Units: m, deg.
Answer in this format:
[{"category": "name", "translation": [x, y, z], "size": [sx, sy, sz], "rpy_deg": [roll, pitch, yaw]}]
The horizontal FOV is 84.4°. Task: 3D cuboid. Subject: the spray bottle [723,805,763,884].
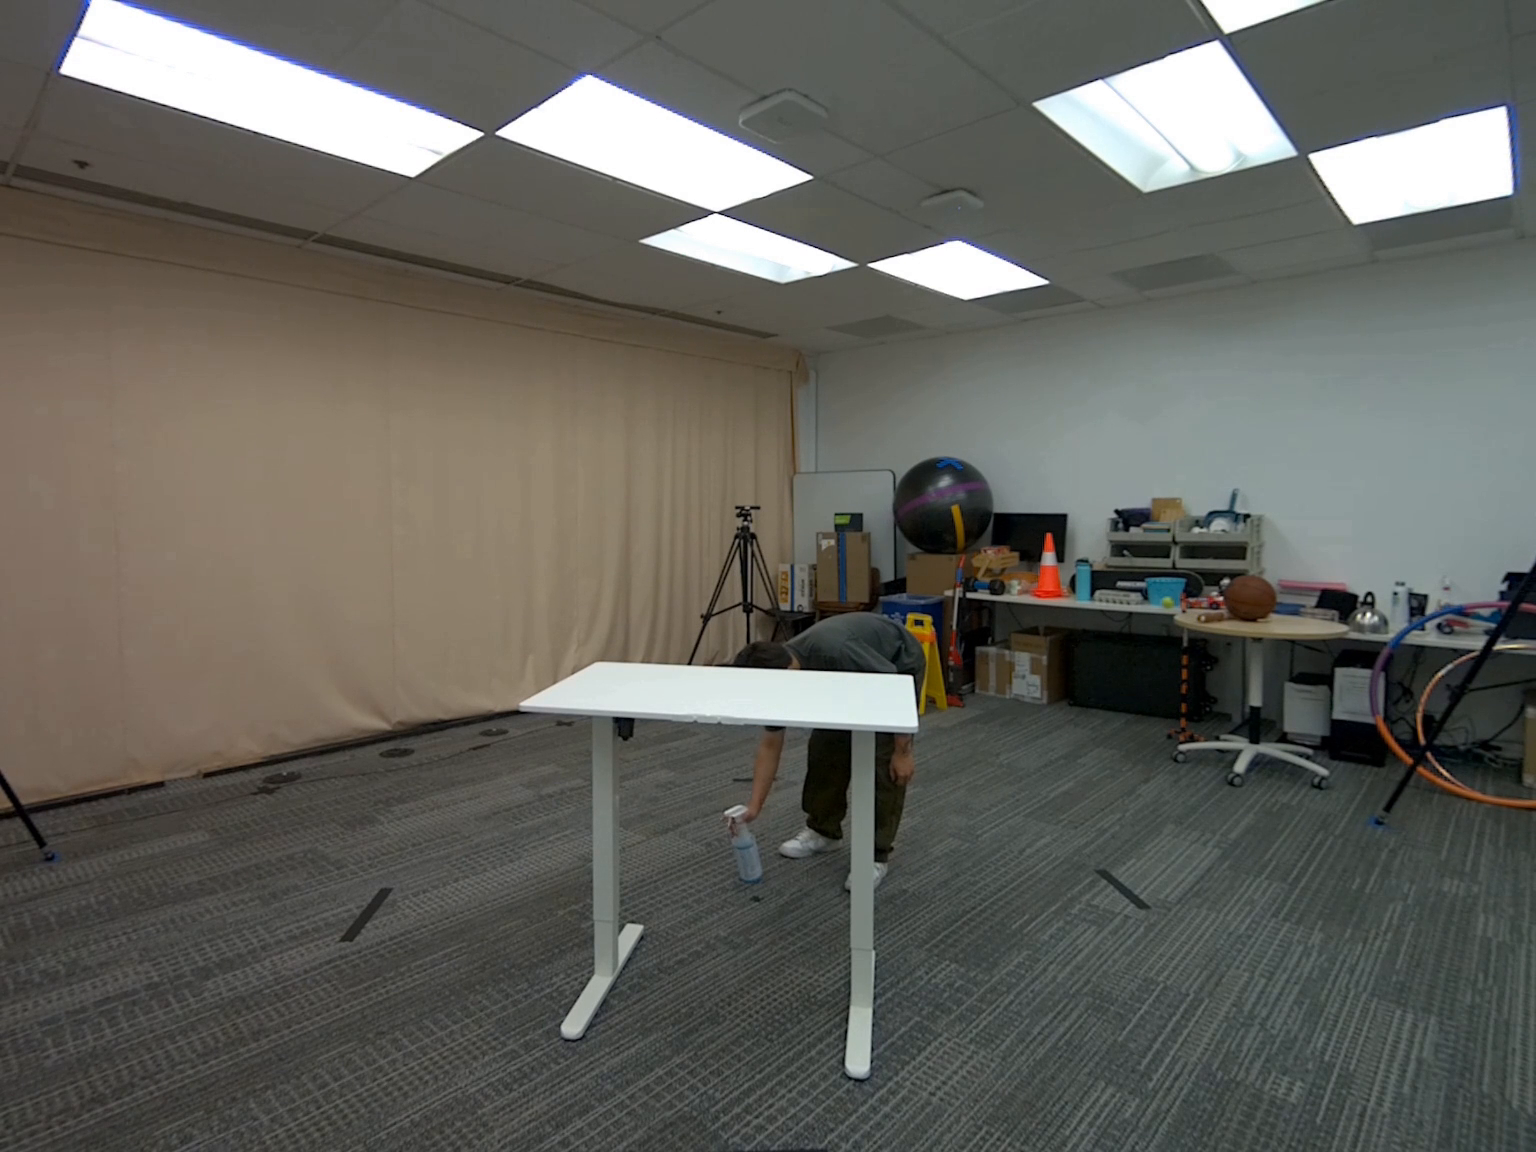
[{"category": "spray bottle", "translation": [-0.082, 0.991, 3.117], "size": [0.090, 0.294, 0.088], "rpy_deg": [-12, 13, -3]}]
